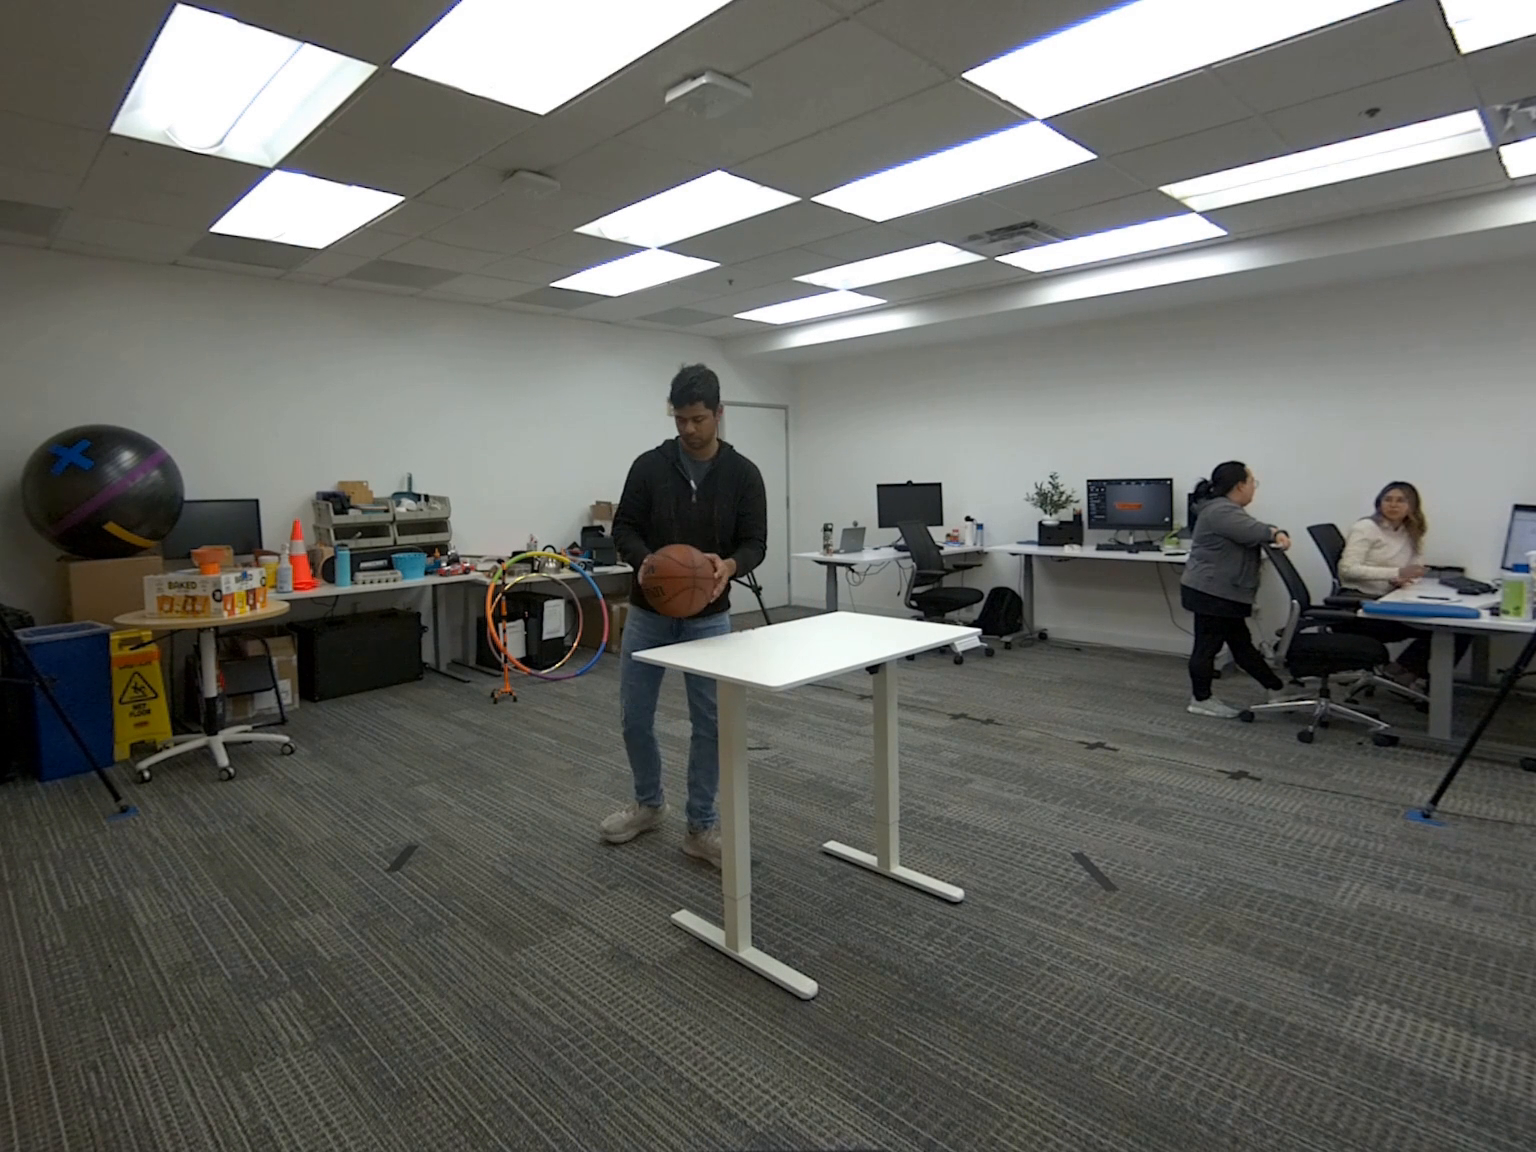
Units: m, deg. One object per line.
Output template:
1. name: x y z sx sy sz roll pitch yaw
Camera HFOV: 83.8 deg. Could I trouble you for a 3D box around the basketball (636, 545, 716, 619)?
1. basketball: -0.292 0.022 2.781 0.236 0.235 0.237 -1 5 -2
